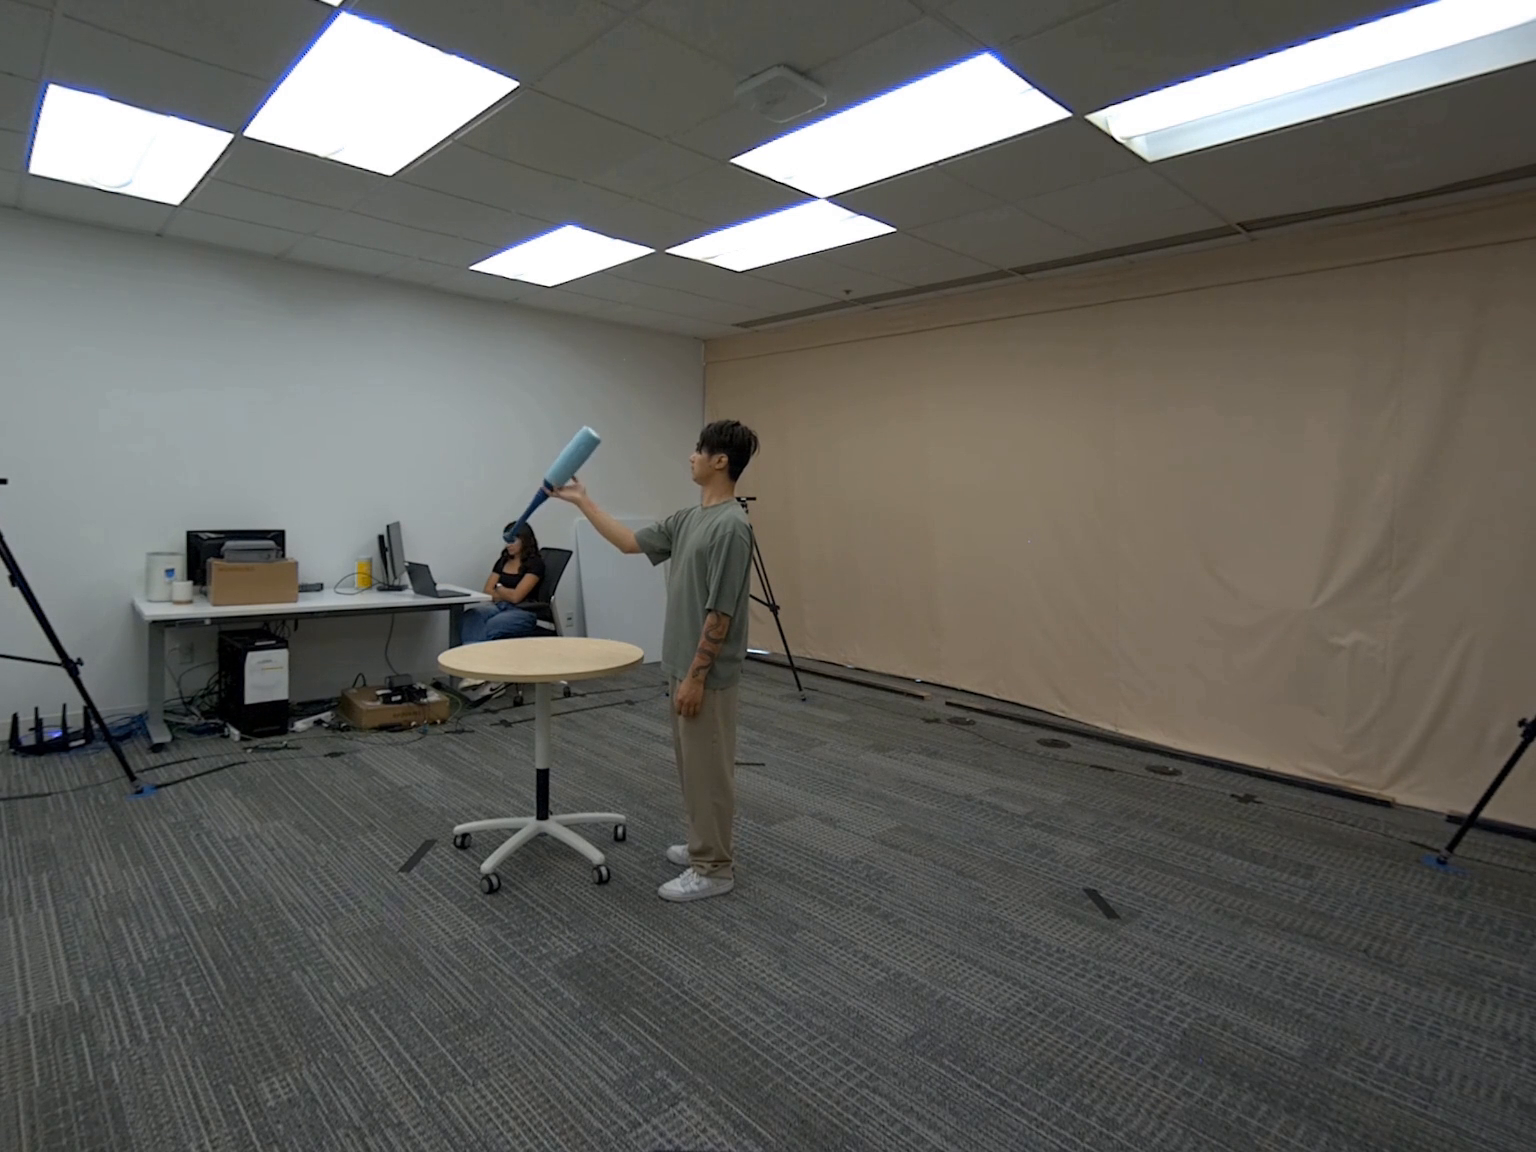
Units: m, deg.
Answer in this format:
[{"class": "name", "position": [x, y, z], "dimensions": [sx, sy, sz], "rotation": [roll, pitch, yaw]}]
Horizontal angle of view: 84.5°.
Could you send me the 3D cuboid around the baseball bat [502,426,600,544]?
[{"class": "baseball bat", "position": [-0.820, -0.327, 3.143], "dimensions": [0.088, 0.543, 0.090], "rotation": [39, 9, -9]}]
